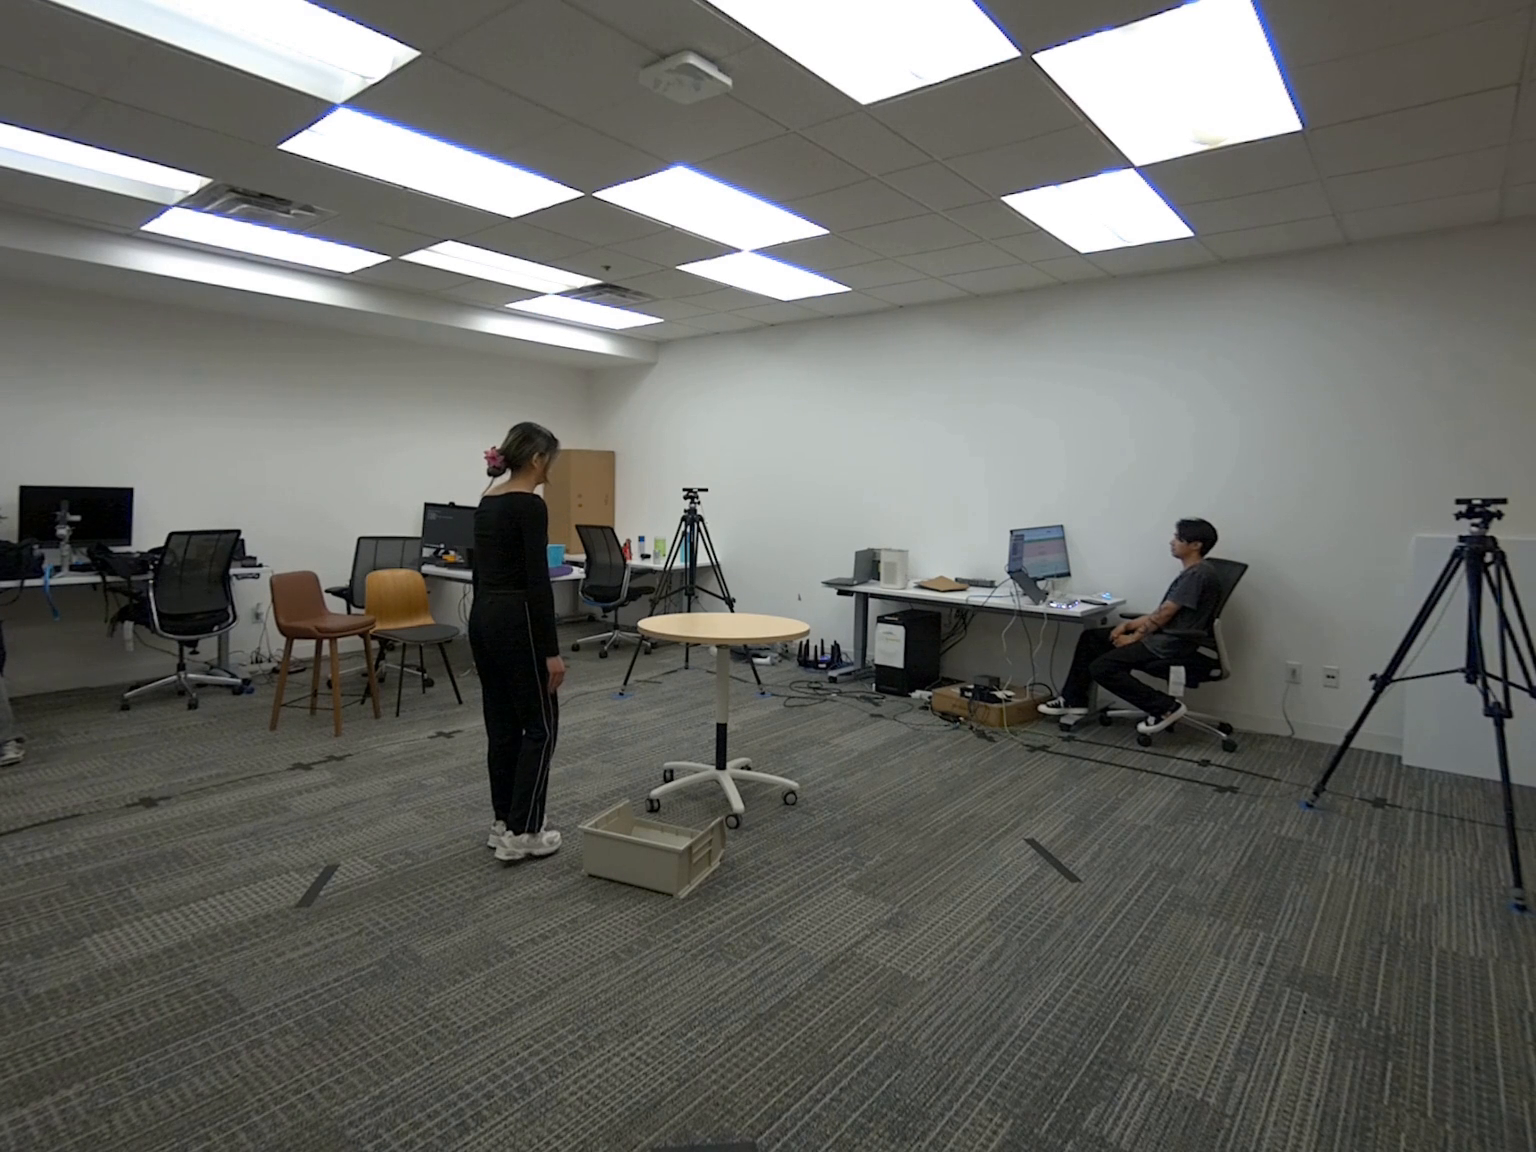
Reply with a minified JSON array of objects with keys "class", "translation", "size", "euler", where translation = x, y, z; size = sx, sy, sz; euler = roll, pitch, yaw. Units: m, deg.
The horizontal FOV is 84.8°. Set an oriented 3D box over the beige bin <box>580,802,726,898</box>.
[{"class":"beige bin","translation":[-0.428,0.977,3.111],"size":[0.433,0.188,0.370],"euler":[4,6,23]}]
